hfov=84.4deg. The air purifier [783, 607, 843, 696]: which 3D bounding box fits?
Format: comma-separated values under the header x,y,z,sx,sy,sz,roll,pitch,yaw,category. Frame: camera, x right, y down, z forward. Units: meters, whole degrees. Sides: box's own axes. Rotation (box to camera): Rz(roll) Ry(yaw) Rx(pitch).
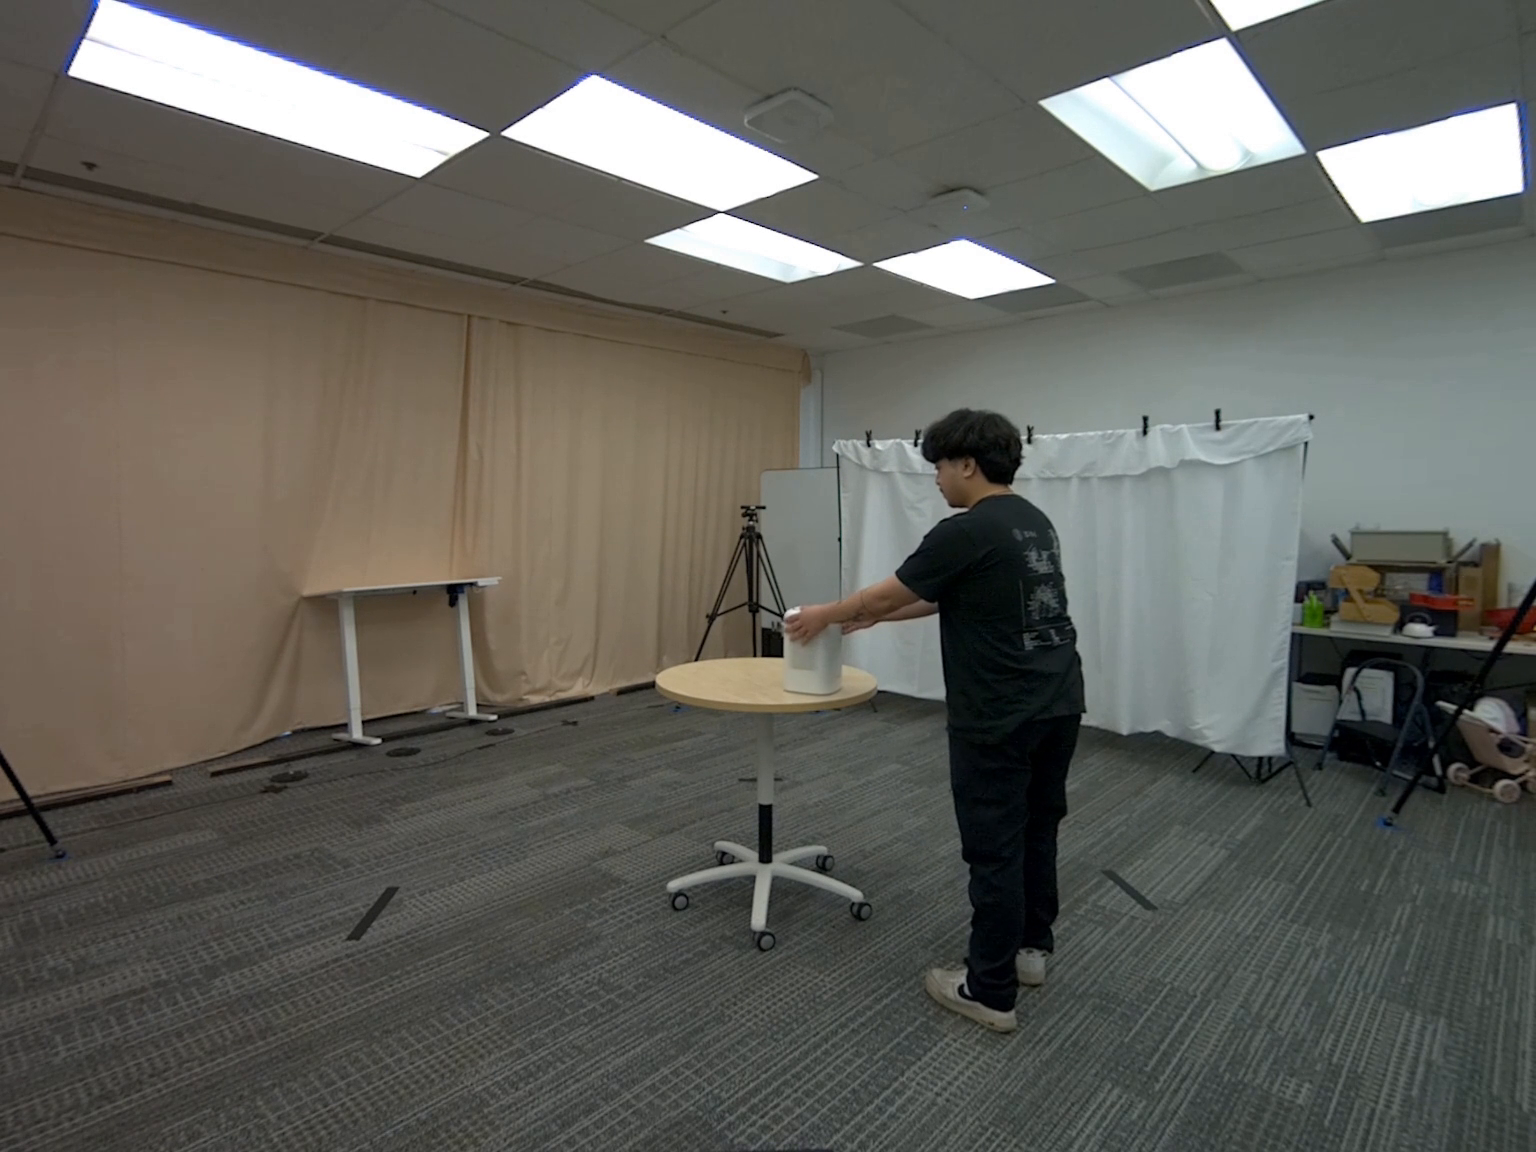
x,y,z,sx,sy,sz,roll,pitch,yaw,category
0.152,0.240,2.747,0.176,0.264,0.167,3,6,27,air purifier
